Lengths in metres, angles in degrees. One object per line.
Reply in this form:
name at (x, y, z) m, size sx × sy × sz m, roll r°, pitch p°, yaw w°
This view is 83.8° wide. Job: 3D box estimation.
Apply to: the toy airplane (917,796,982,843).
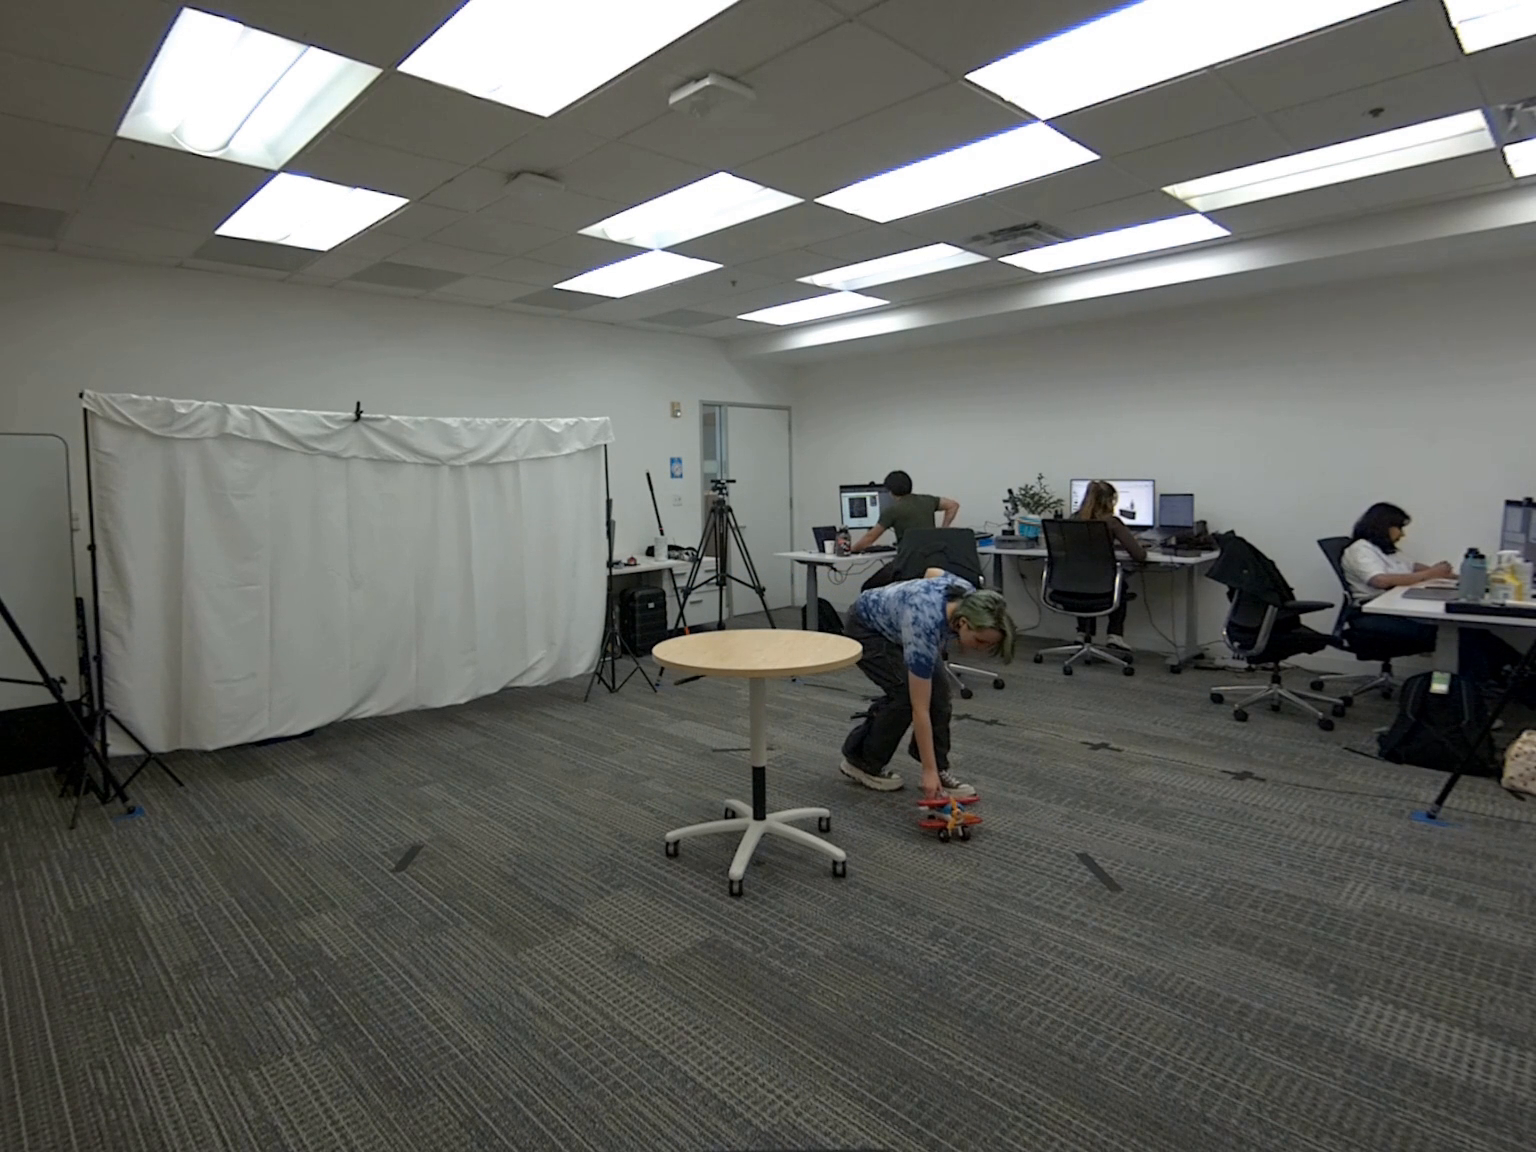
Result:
toy airplane at (0.681, 0.936, 3.354) m, size 0.244 × 0.156 × 0.267 m, roll -4°, pitch 7°, yaw -37°
